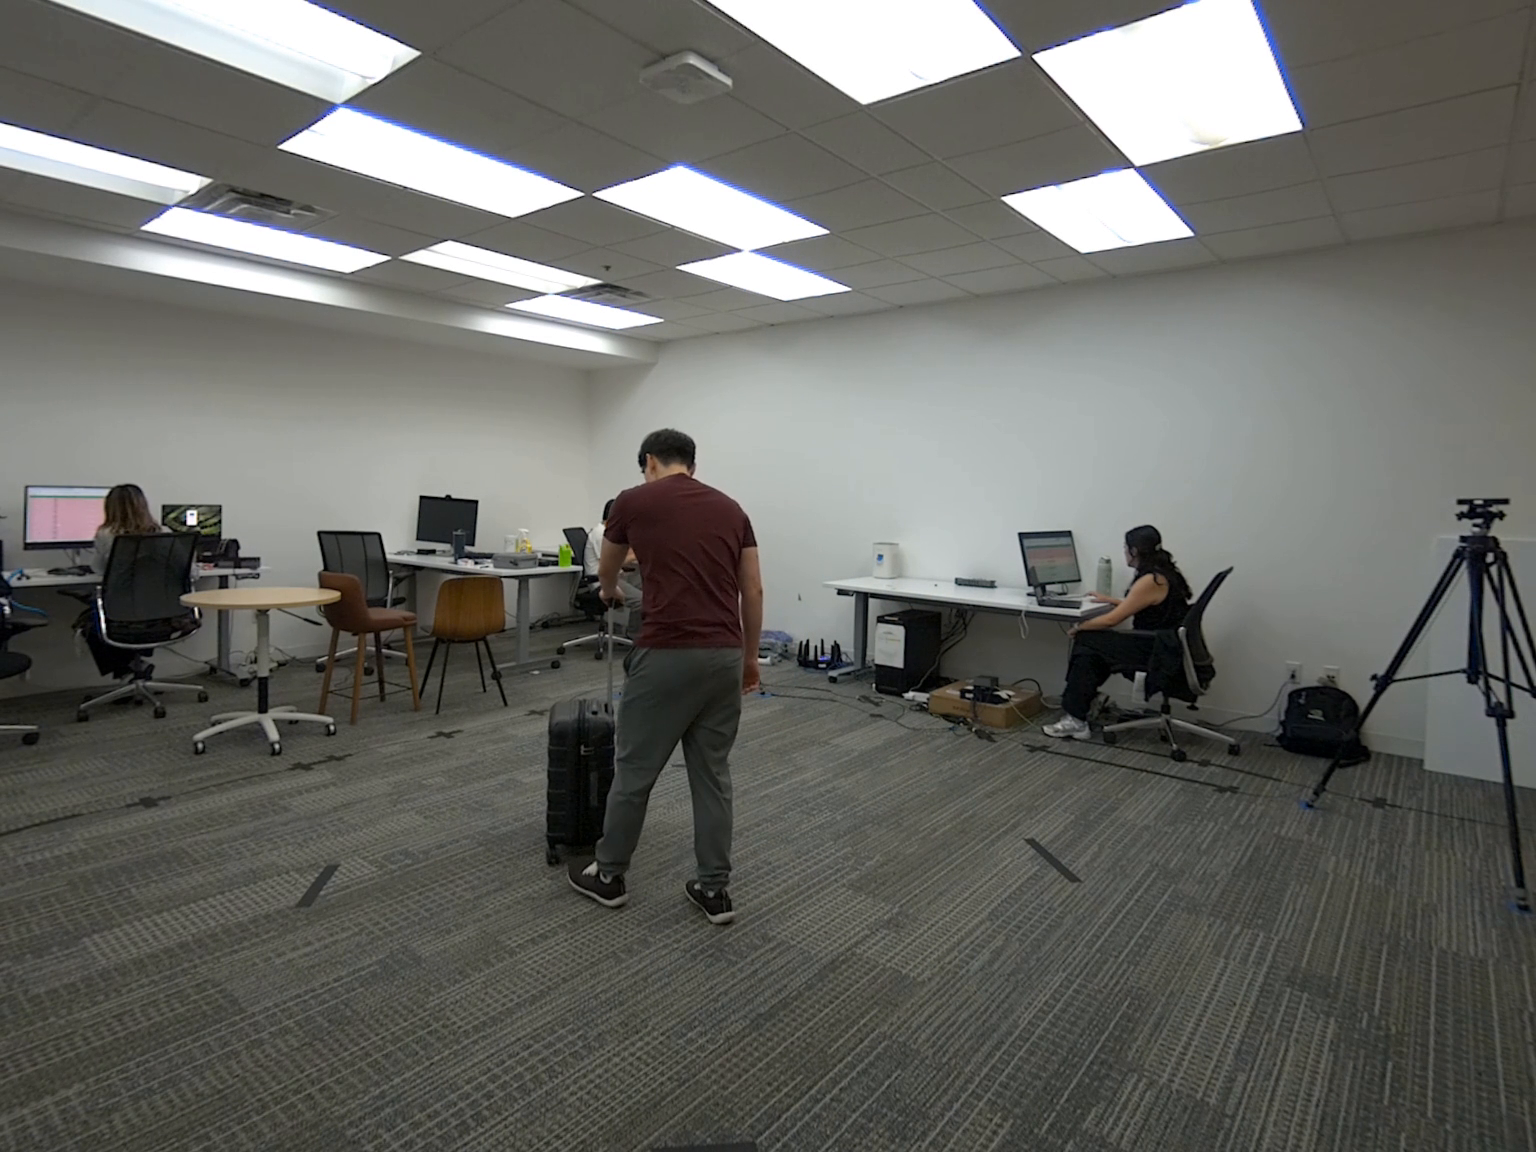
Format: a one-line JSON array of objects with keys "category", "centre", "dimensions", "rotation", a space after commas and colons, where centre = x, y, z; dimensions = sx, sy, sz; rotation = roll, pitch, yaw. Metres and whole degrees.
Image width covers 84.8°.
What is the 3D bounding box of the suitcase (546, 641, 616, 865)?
[{"category": "suitcase", "centre": [-0.738, 0.567, 3.298], "dimensions": [0.254, 0.977, 0.389], "rotation": [0, 1, -11]}]
